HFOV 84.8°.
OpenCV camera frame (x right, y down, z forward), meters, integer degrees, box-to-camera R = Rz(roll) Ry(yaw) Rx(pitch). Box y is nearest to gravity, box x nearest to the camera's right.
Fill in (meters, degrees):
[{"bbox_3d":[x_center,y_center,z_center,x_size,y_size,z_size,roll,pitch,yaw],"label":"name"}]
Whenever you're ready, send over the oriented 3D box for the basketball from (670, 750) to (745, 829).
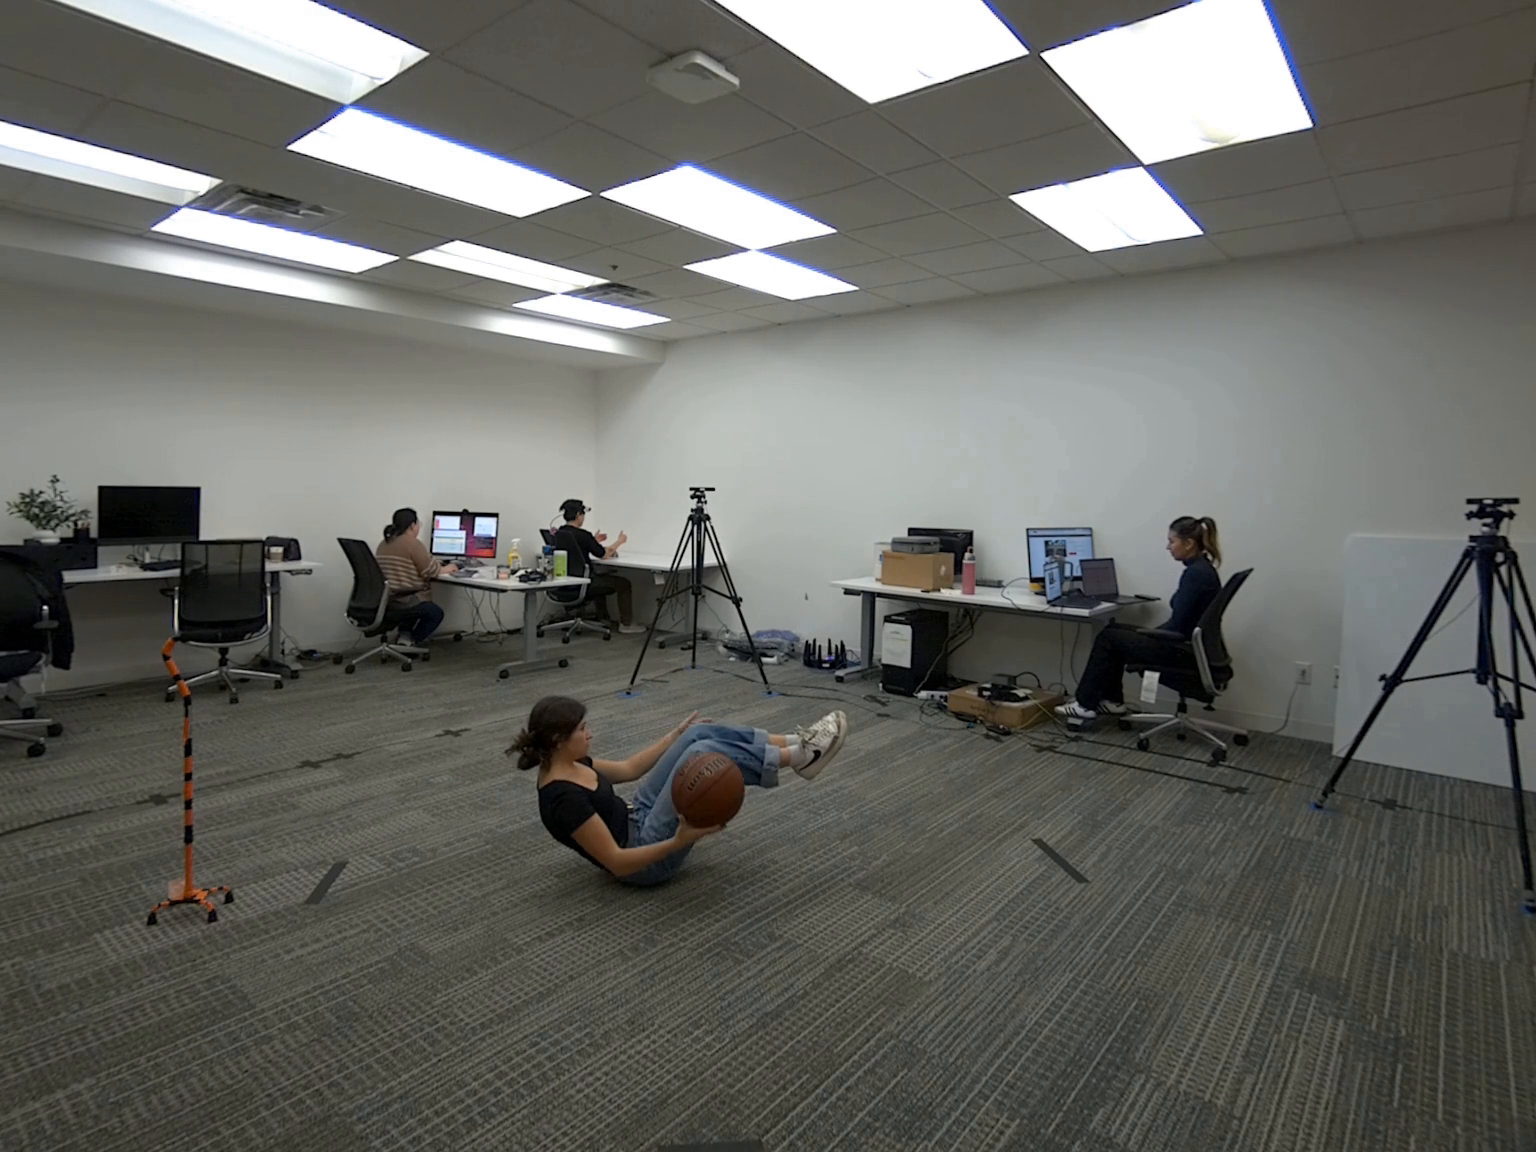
[{"bbox_3d":[-0.203,0.686,2.771,0.235,0.235,0.237,1,4,-2],"label":"basketball"}]
